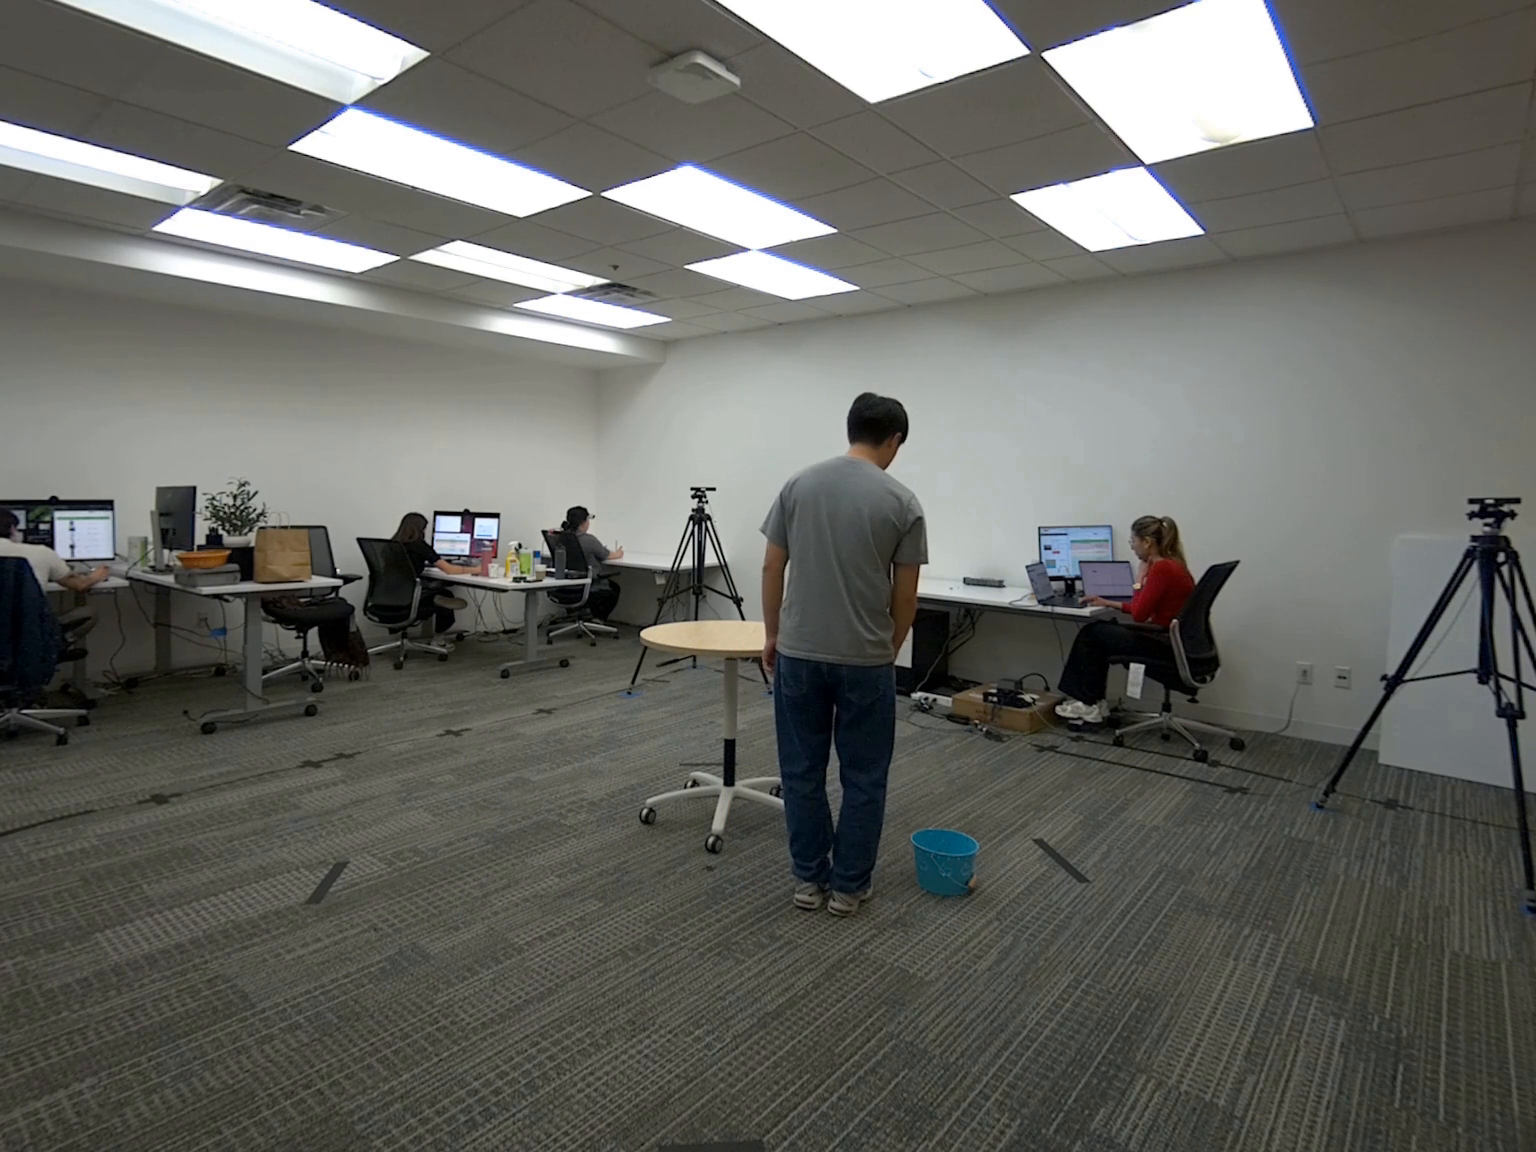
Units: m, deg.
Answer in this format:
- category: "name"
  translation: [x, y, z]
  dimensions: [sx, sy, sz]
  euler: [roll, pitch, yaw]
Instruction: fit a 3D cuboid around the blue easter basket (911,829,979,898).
- category: "blue easter basket"
  translation: [0.622, 1.016, 3.026]
  dimensions: [0.243, 0.155, 0.245]
  euler: [1, 5, -2]
